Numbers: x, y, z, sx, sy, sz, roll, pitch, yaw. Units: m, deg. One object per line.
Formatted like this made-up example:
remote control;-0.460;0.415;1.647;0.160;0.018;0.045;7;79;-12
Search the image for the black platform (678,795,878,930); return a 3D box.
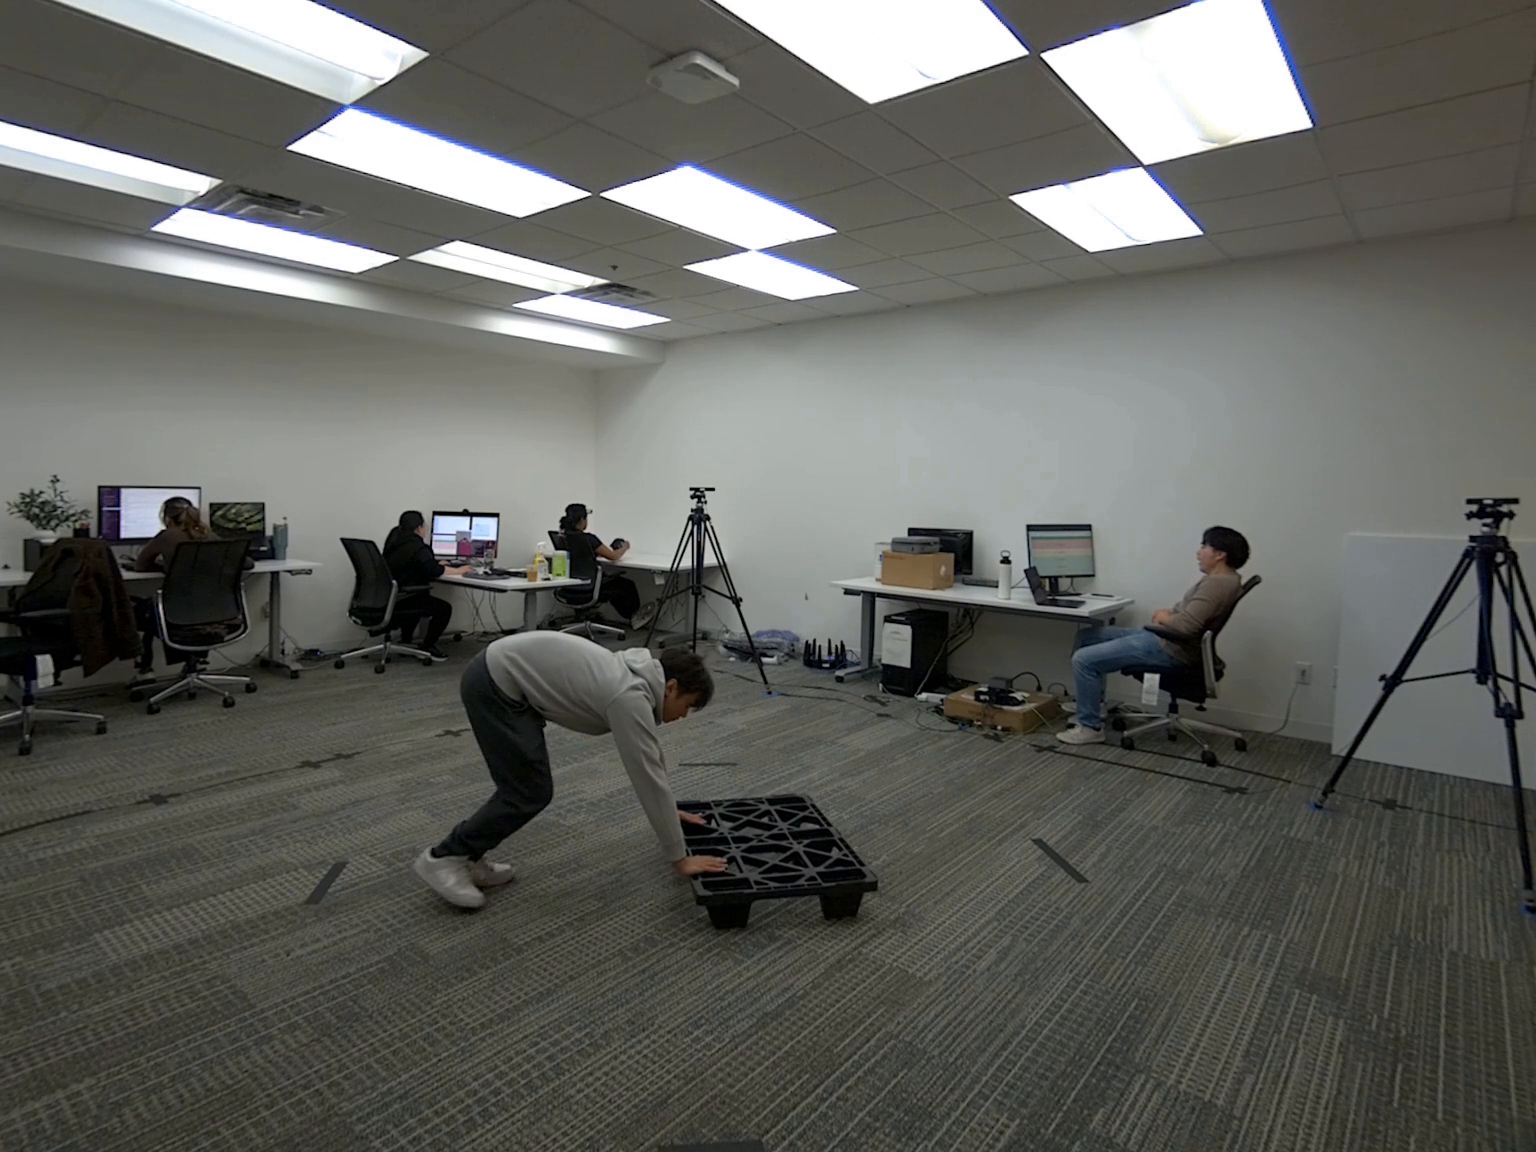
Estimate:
black platform;-0.035;1.002;3.075;0.597;0.143;0.820;0;6;-13
